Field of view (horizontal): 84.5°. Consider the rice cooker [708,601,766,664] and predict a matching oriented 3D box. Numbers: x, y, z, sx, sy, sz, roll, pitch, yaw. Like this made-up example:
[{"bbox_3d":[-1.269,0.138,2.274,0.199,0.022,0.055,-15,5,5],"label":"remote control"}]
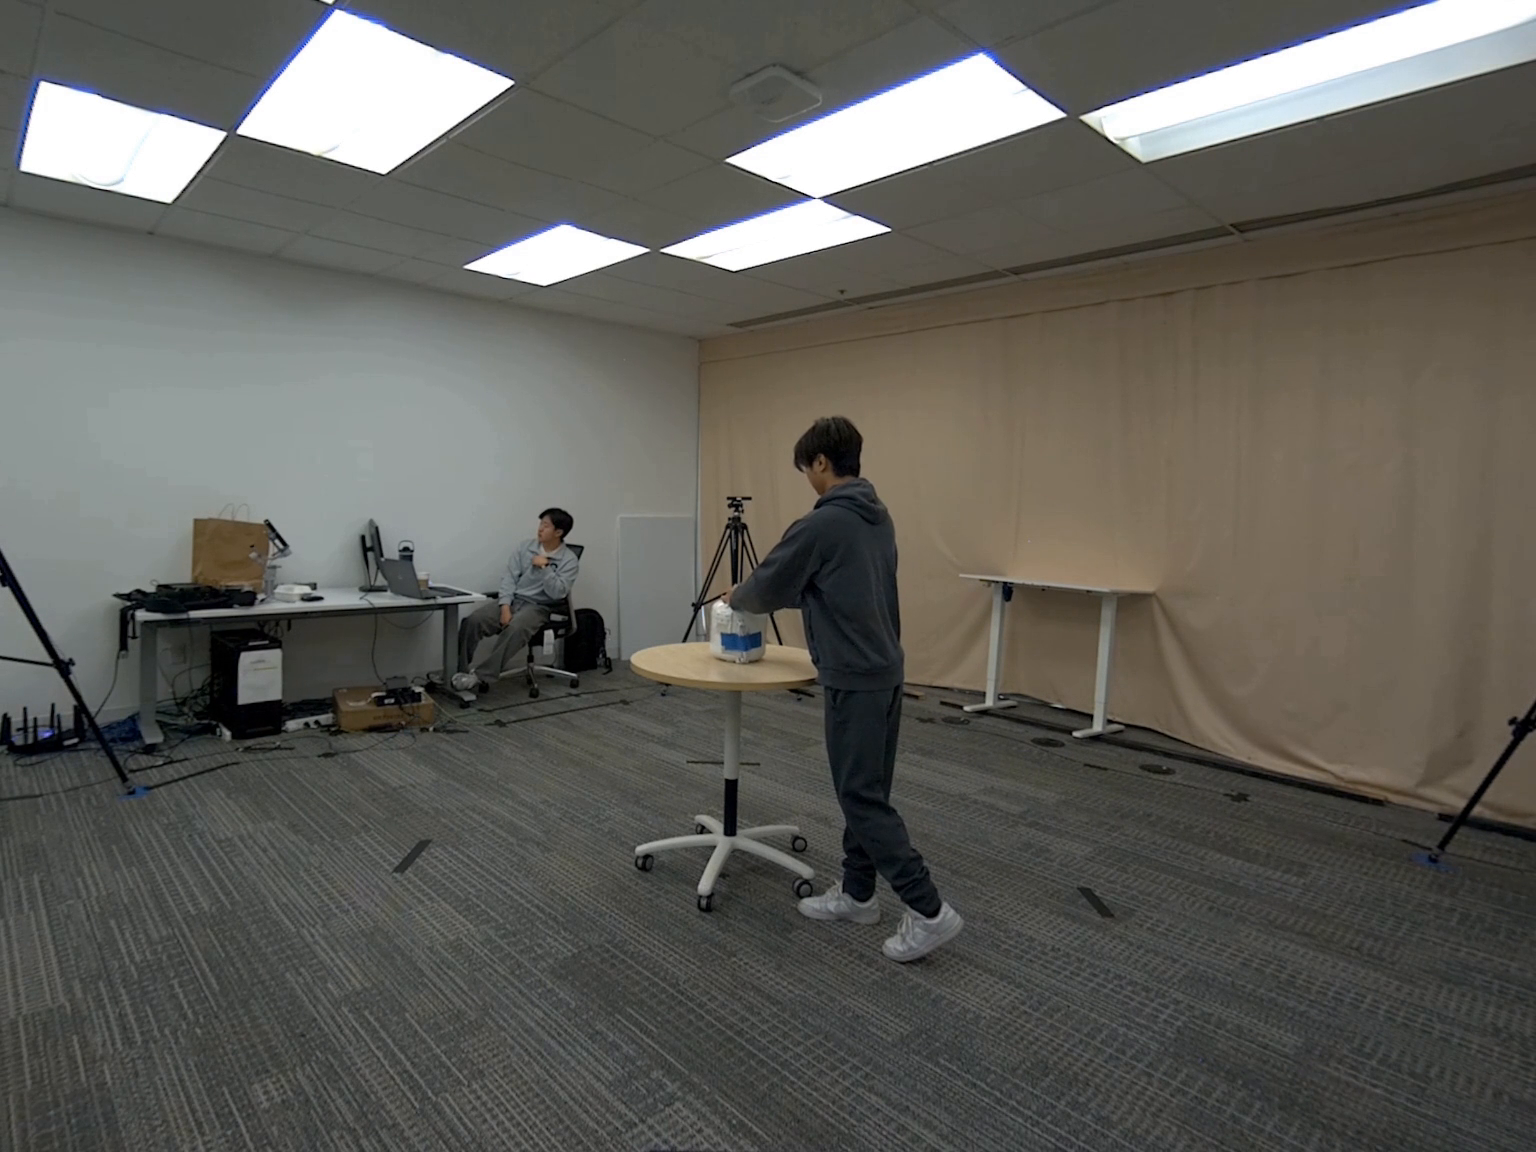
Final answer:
[{"bbox_3d":[-0.111,0.184,3.114,0.223,0.232,0.216,10,8,34],"label":"rice cooker"}]
